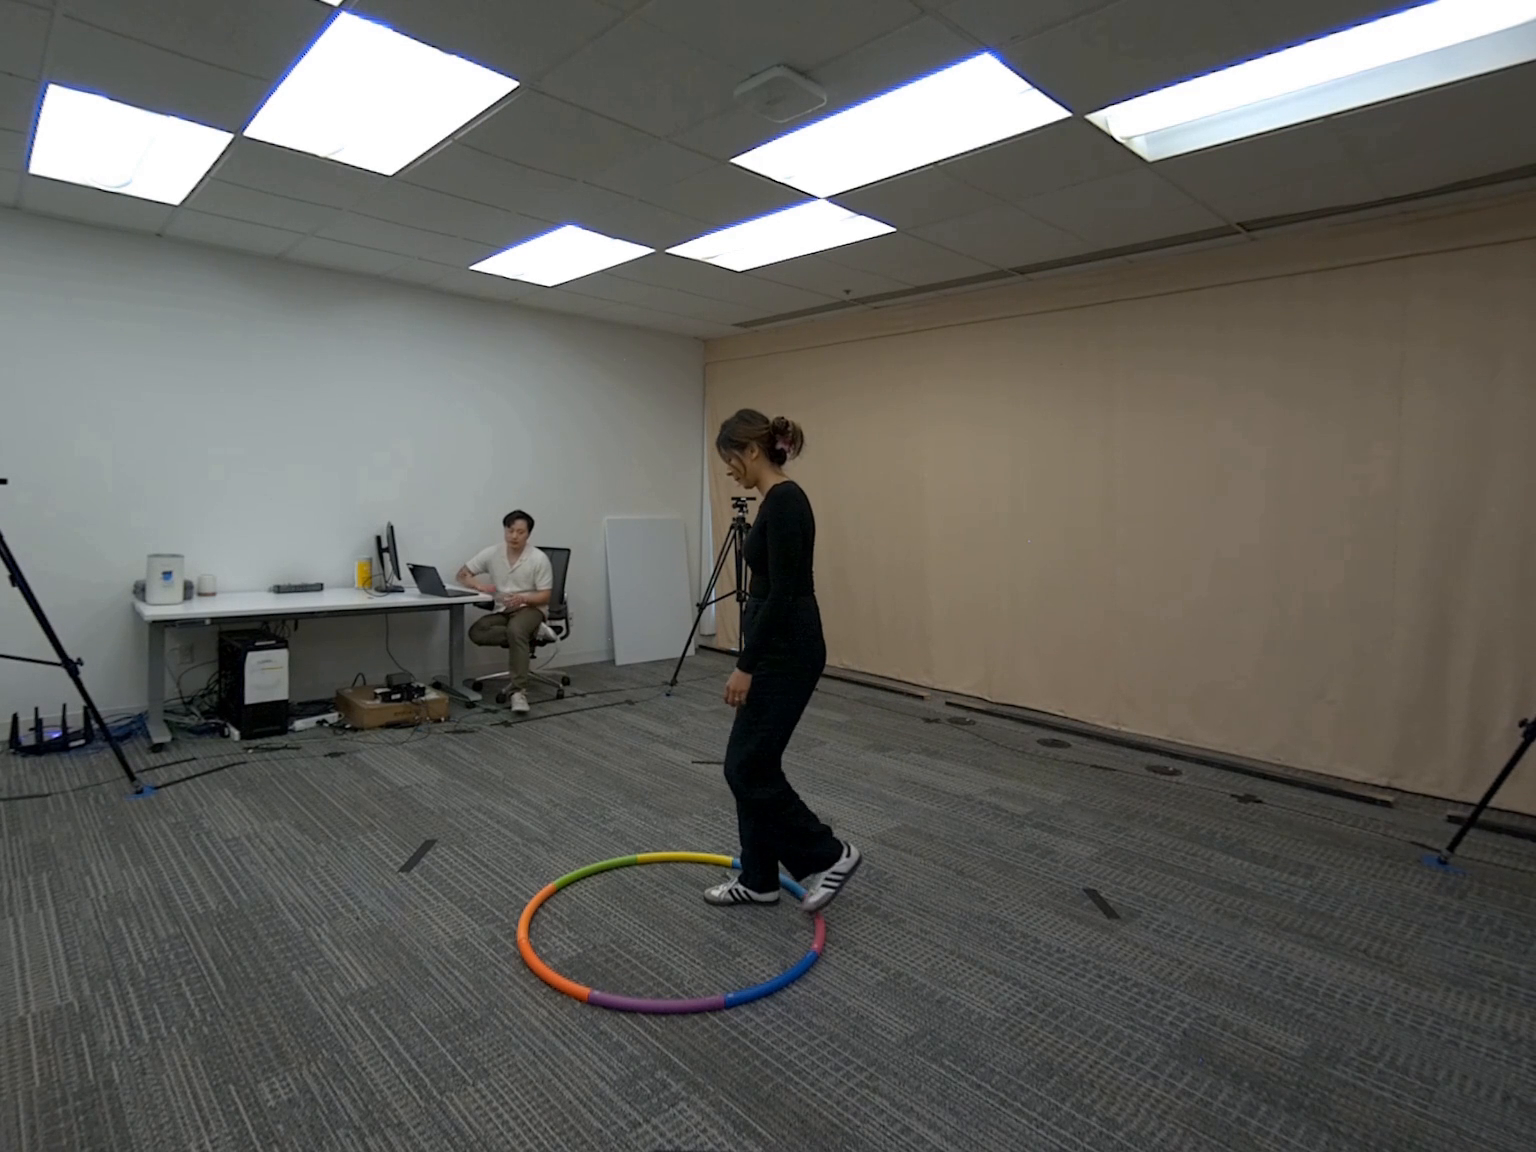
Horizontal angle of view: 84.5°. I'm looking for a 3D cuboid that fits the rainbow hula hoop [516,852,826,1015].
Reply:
[{"bbox_3d":[-0.311,1.109,2.745,0.978,0.035,0.982,1,5,-1],"label":"rainbow hula hoop"}]
